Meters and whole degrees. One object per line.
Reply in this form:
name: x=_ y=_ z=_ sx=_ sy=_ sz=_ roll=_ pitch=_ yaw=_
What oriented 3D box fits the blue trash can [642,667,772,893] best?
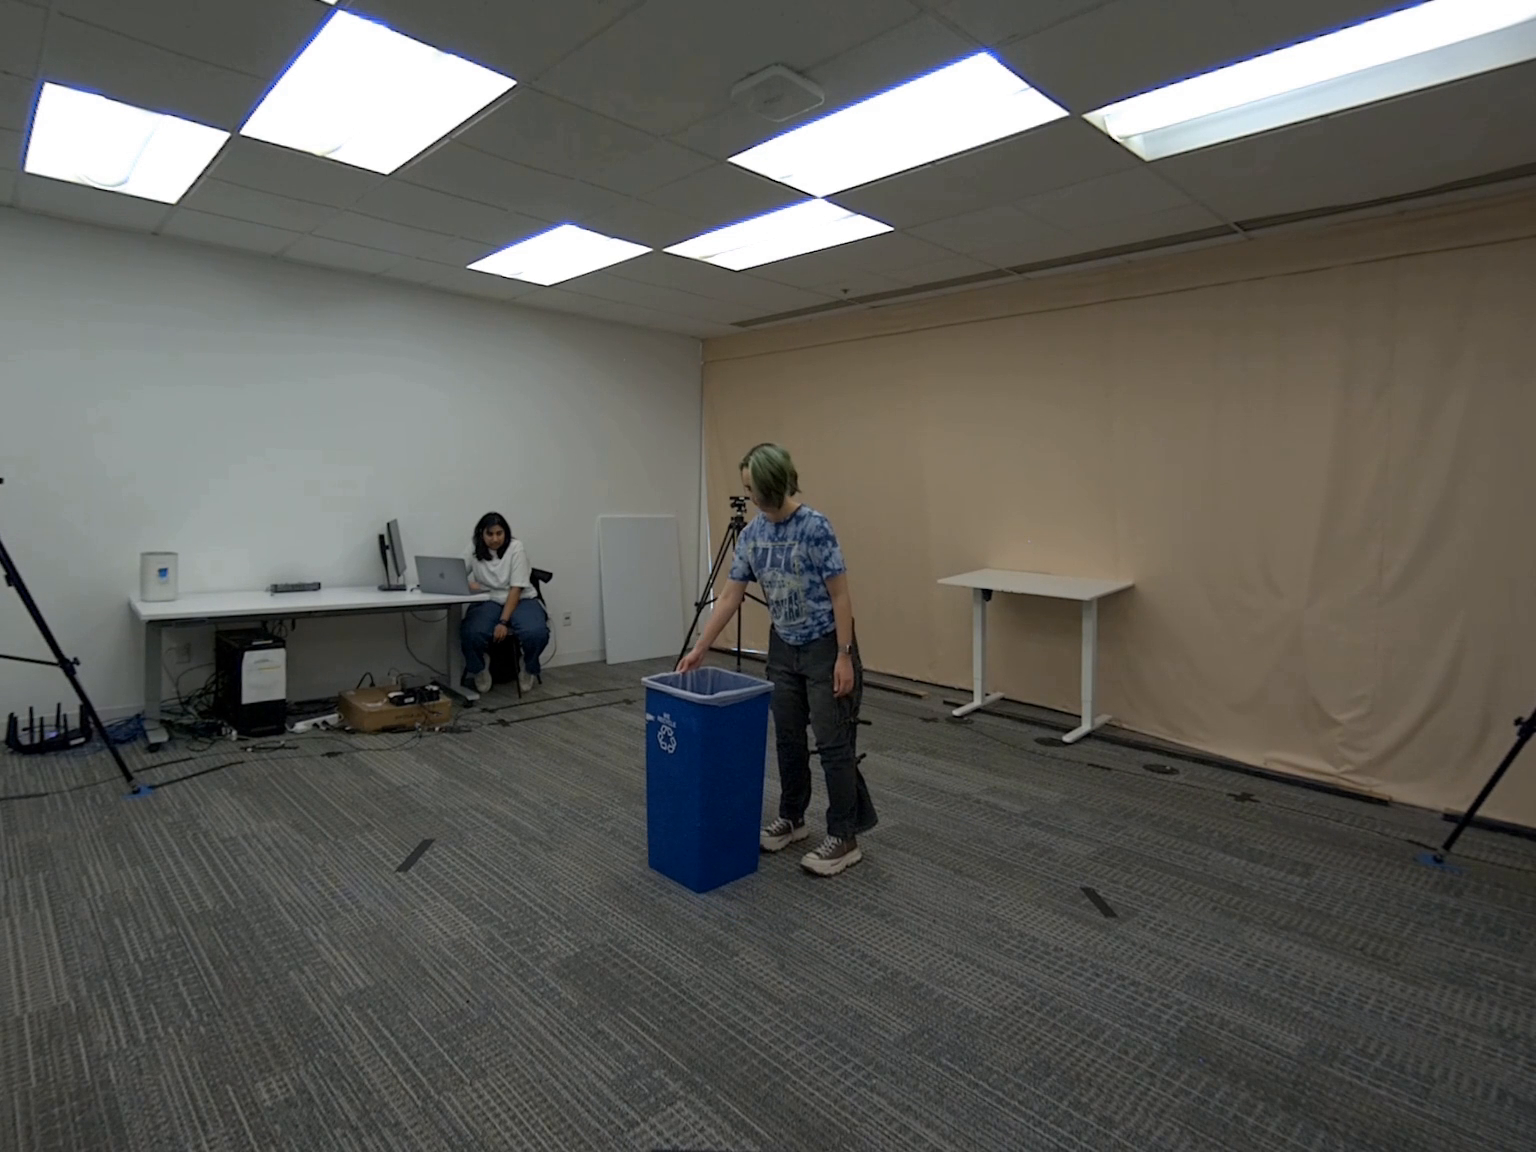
blue trash can: x=-0.235 y=0.744 z=3.129 sx=0.369 sy=0.711 sz=0.383 roll=-3 pitch=5 yaw=-44
